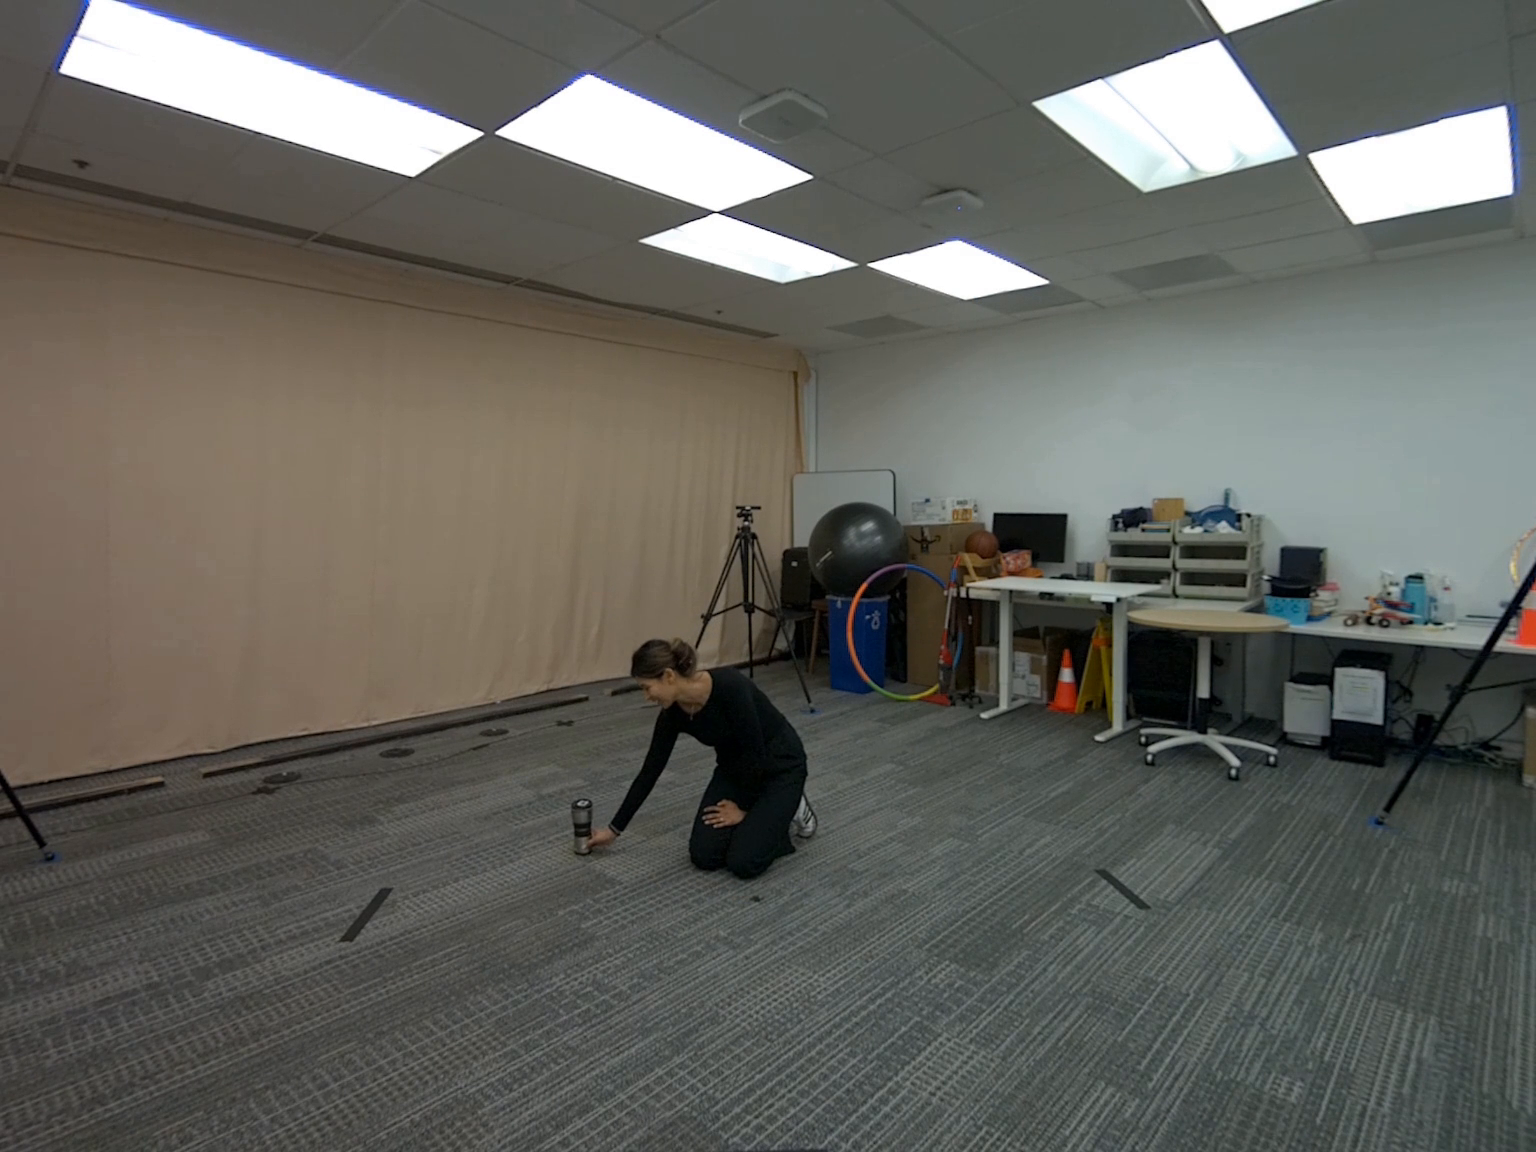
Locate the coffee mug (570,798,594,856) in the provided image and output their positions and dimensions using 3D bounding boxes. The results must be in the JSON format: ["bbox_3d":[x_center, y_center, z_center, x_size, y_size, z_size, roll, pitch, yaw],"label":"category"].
[{"bbox_3d":[-0.754,1.020,3.424,0.087,0.202,0.124,-3,5,-12],"label":"coffee mug"}]
